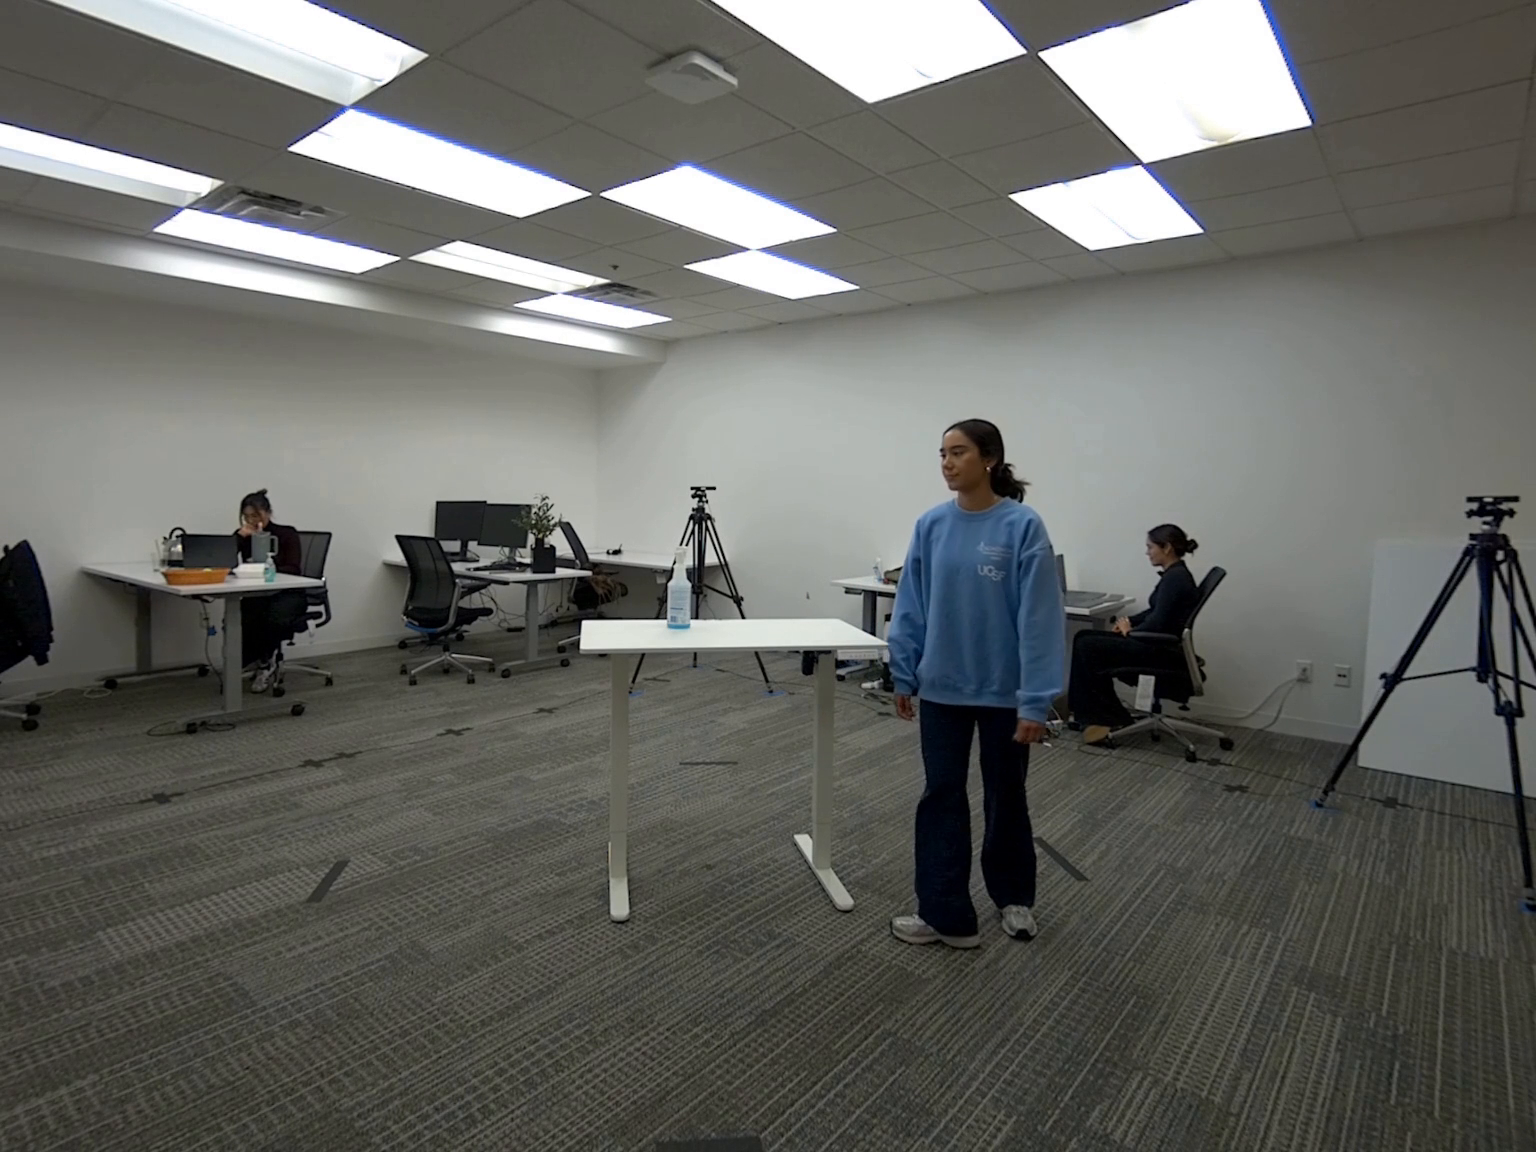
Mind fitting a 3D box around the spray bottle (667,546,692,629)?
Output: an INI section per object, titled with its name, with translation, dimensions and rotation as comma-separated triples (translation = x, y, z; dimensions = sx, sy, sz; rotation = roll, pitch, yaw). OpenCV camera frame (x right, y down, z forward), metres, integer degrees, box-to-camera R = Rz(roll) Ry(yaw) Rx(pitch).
[spray bottle]
translation = -0.333, 0.040, 3.089
dimensions = 0.087, 0.296, 0.090
rotation = 2, 3, -3
